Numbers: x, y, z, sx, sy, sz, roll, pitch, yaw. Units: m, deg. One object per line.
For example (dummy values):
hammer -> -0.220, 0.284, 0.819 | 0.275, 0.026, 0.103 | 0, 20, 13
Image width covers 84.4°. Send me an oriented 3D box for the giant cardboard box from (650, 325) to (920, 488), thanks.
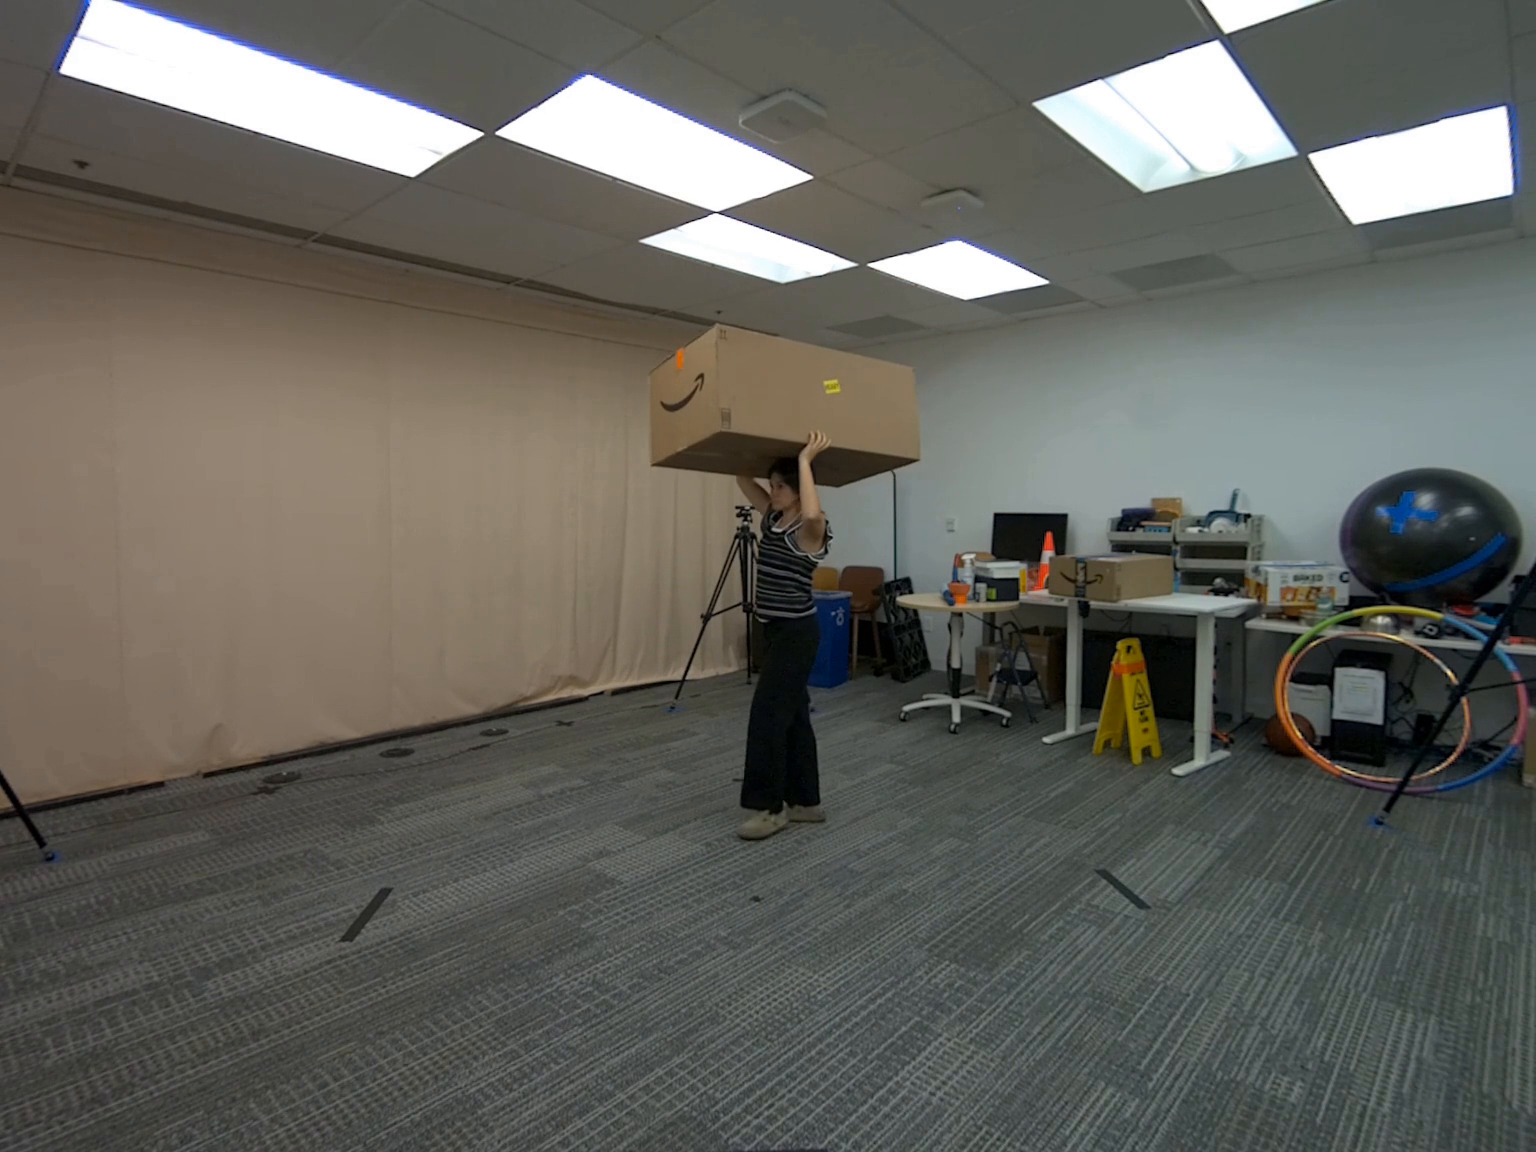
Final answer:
giant cardboard box -> 0.073, -0.688, 3.647 | 0.996, 0.428, 0.591 | 3, -9, -32
